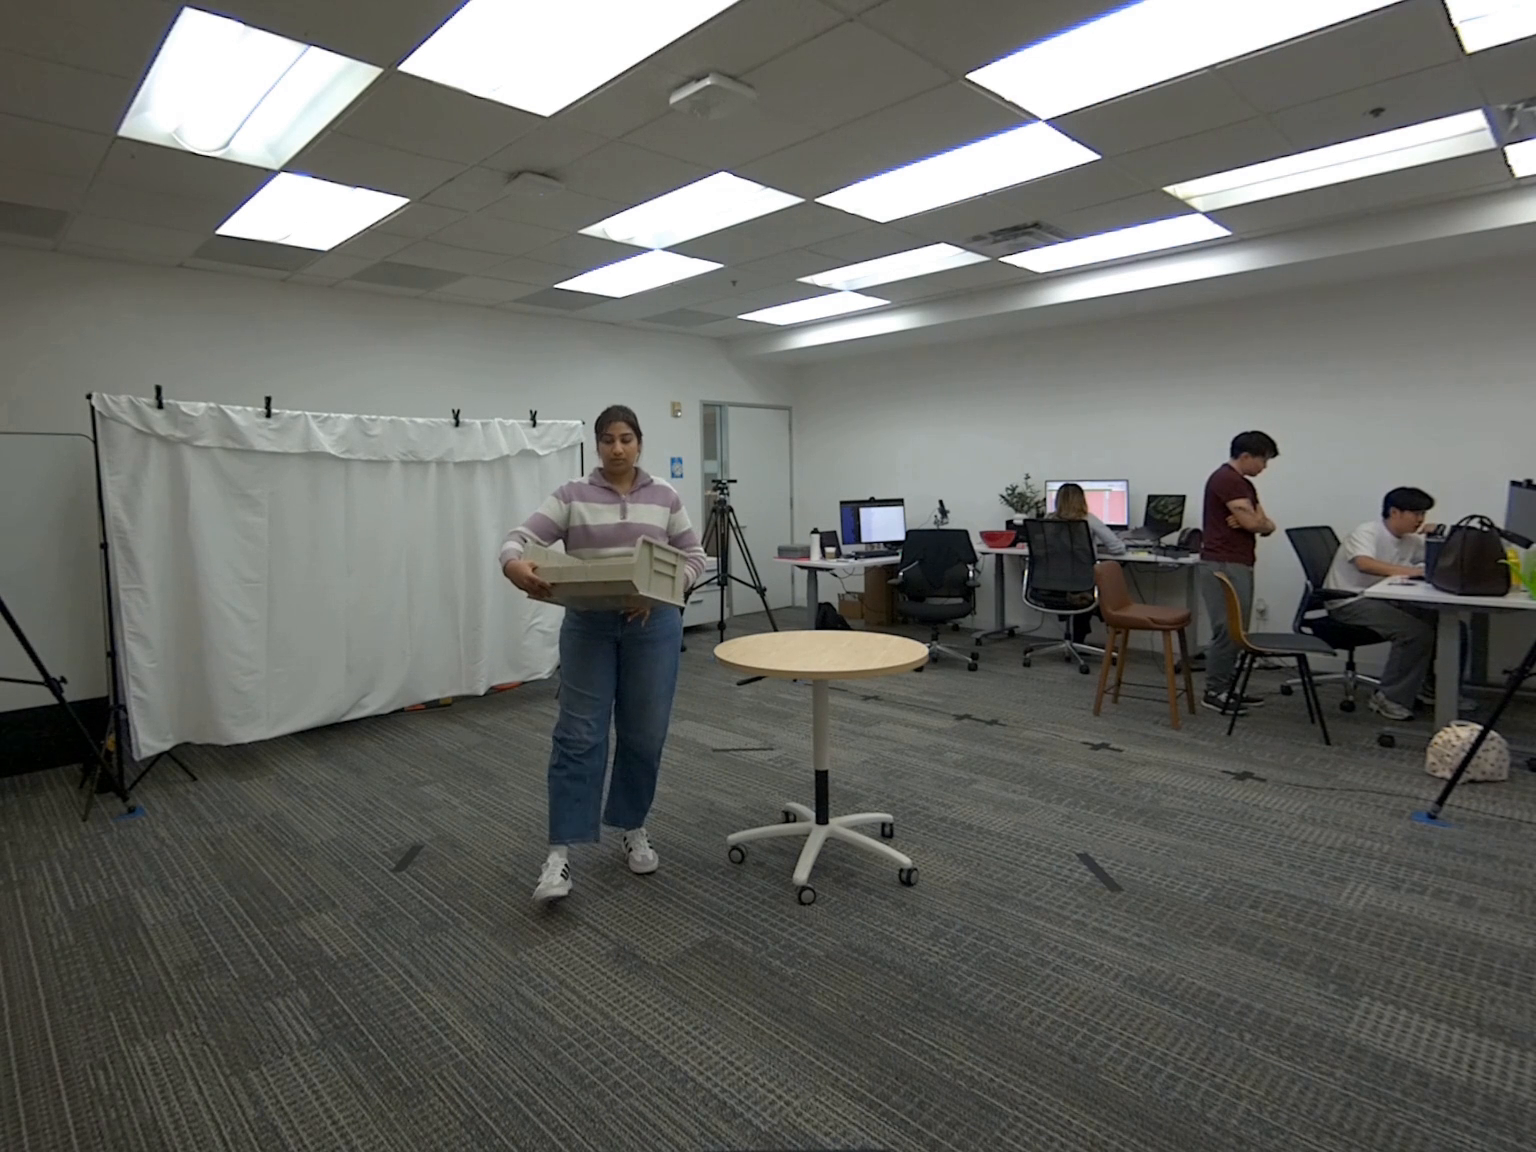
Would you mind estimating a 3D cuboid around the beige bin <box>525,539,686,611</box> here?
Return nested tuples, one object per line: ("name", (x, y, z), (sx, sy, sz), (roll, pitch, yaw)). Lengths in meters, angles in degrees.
("beige bin", (-0.526, -0.003, 2.747), (0.430, 0.191, 0.366), (-4, -12, 20))
